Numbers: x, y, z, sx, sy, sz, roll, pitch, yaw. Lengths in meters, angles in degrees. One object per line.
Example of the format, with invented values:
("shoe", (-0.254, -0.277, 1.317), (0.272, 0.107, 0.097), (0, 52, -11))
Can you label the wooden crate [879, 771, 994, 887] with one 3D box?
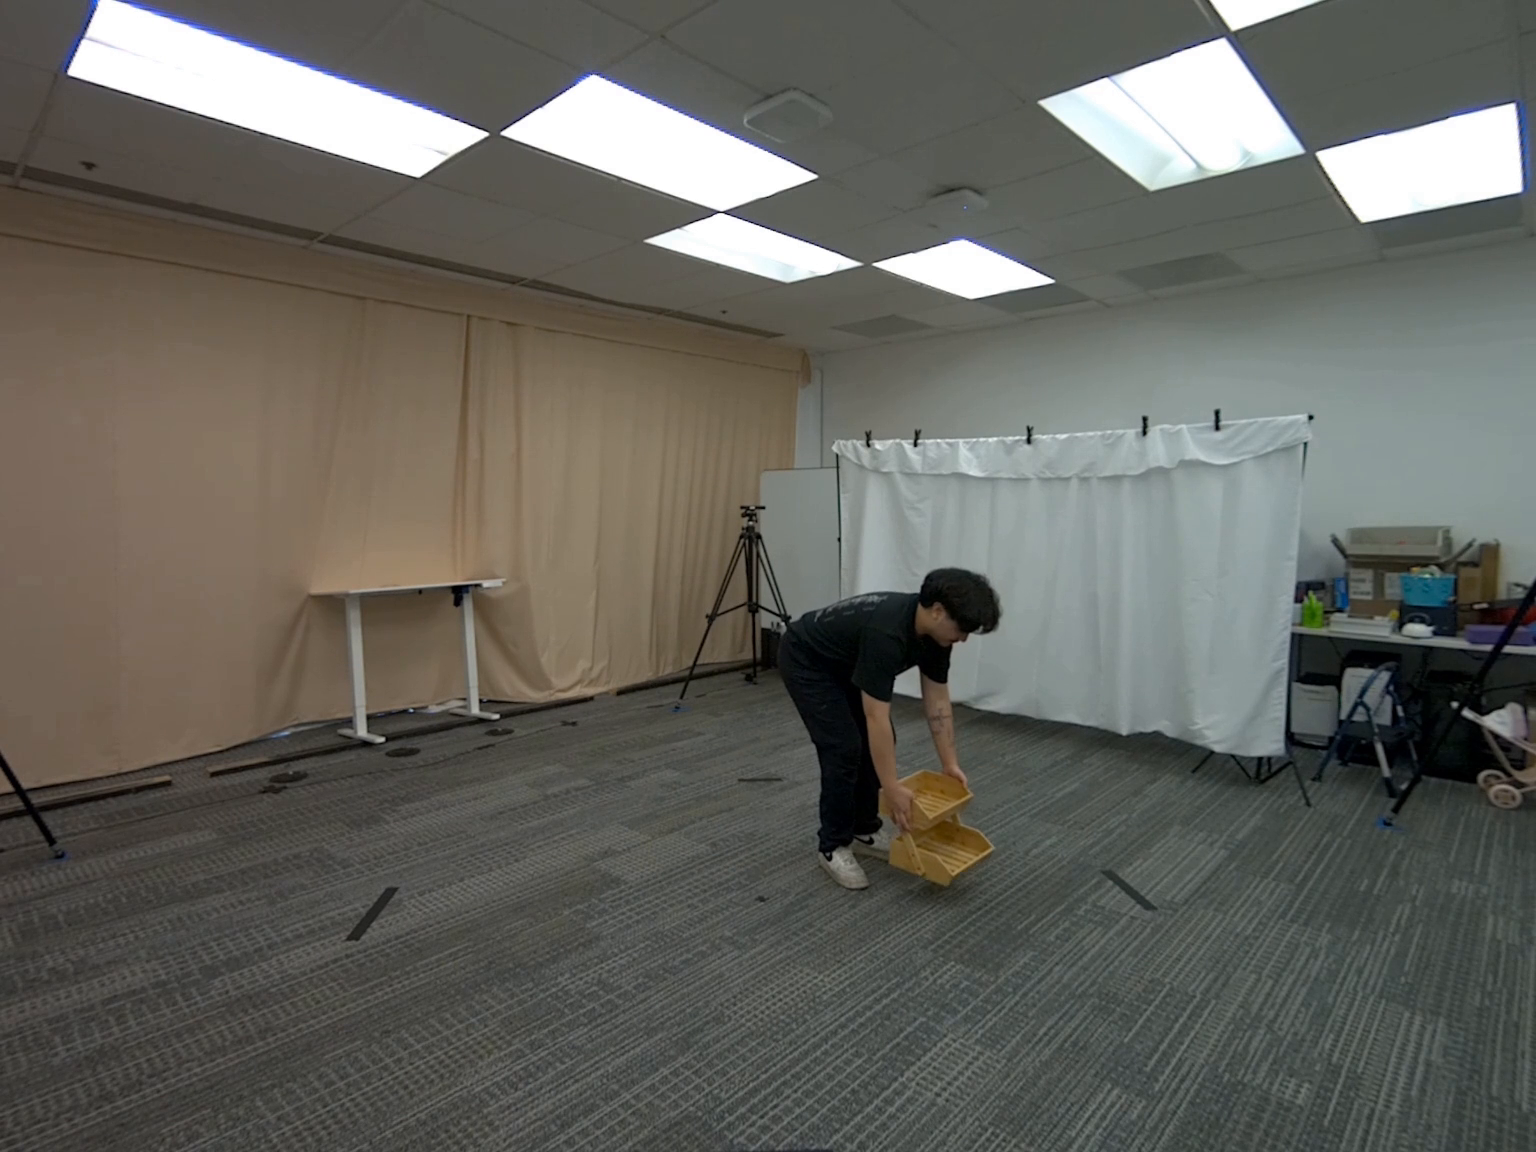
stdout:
("wooden crate", (0.619, 0.889, 3.024), (0.312, 0.272, 0.315), (5, 8, 41))
